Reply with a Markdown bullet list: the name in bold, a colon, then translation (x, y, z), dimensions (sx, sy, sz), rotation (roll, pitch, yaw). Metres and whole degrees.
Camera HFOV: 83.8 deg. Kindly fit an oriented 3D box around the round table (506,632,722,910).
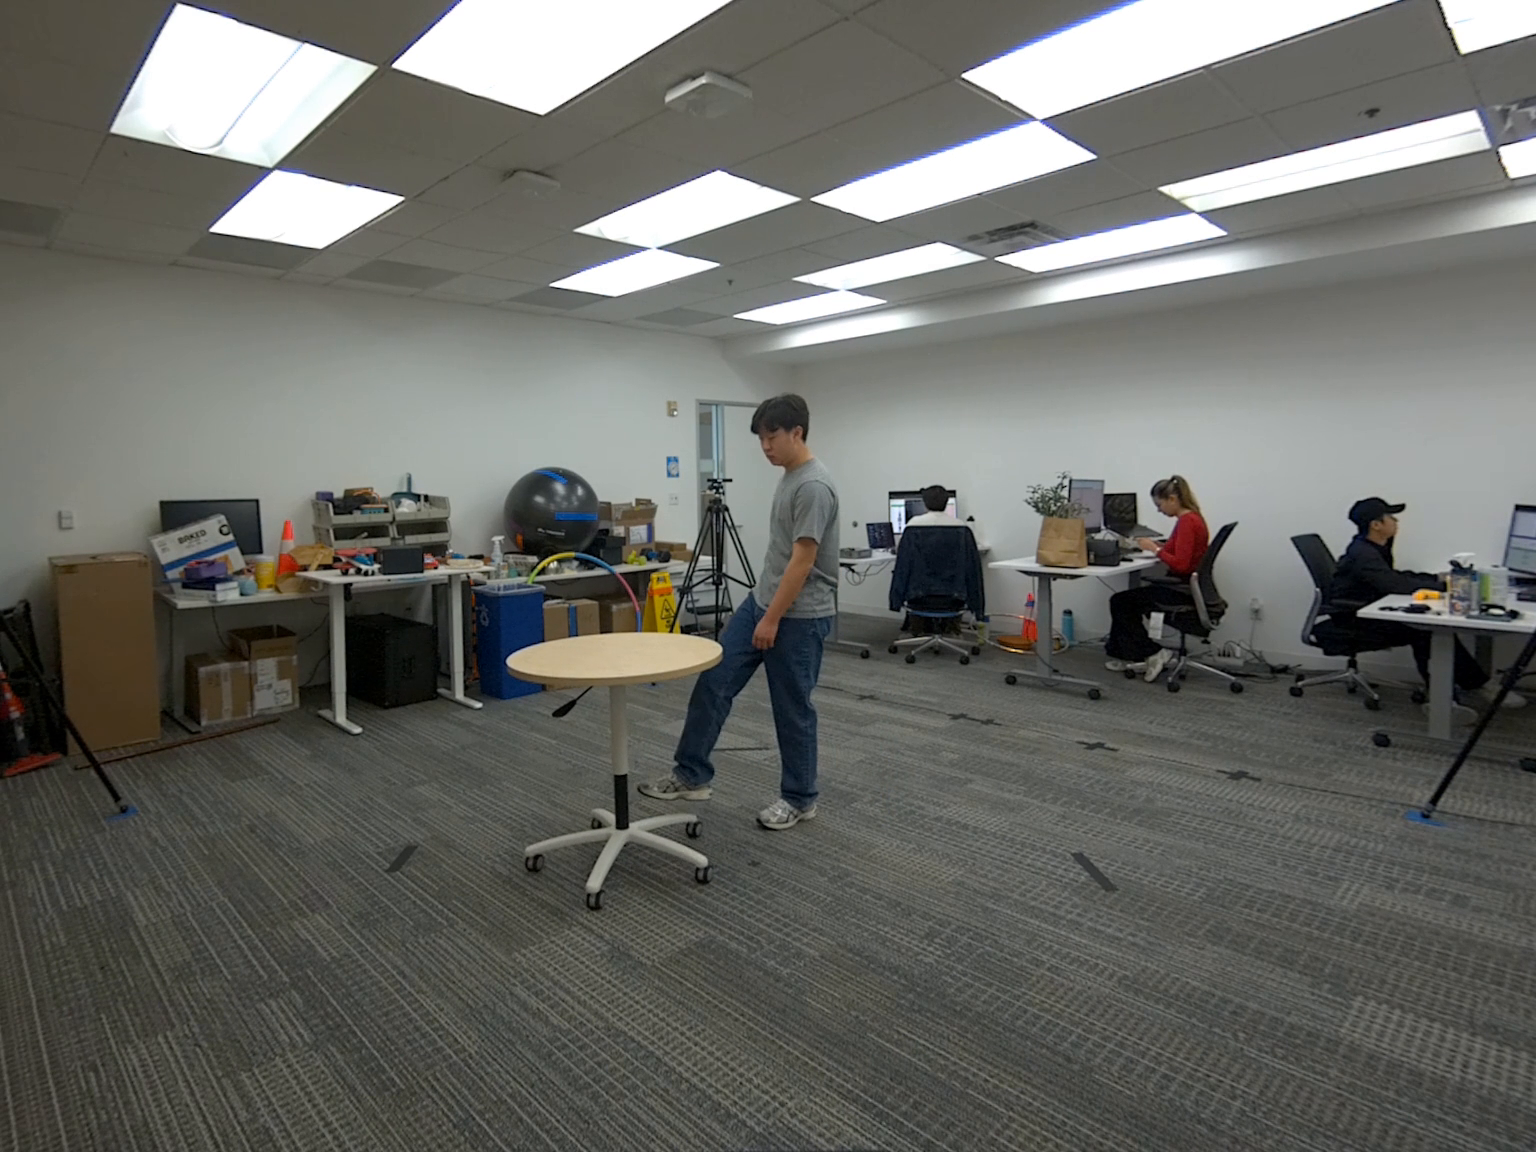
- **round table**: translation (-0.534, 0.667, 3.095), dimensions (0.763, 0.791, 0.768), rotation (-2, 5, -2)
